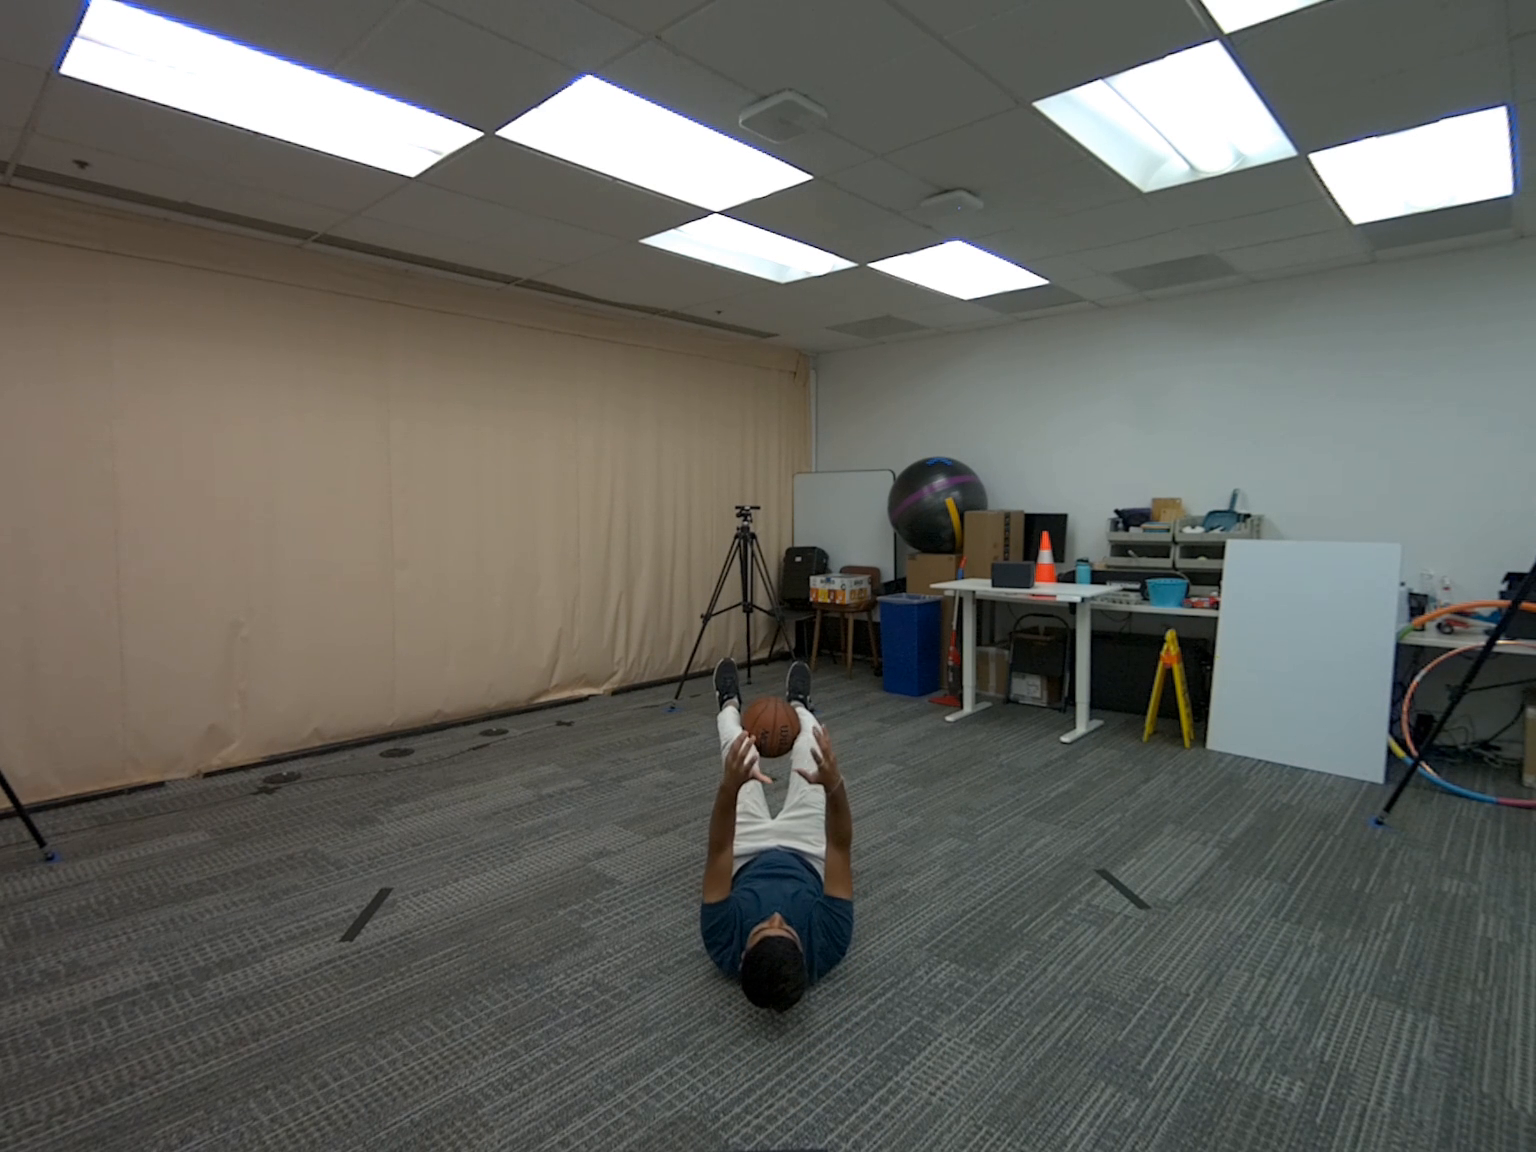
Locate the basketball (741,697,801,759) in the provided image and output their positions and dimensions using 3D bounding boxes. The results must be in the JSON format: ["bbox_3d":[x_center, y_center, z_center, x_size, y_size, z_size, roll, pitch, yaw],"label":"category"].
[{"bbox_3d":[0.011,0.593,3.325,0.236,0.235,0.237,0,4,-2],"label":"basketball"}]
